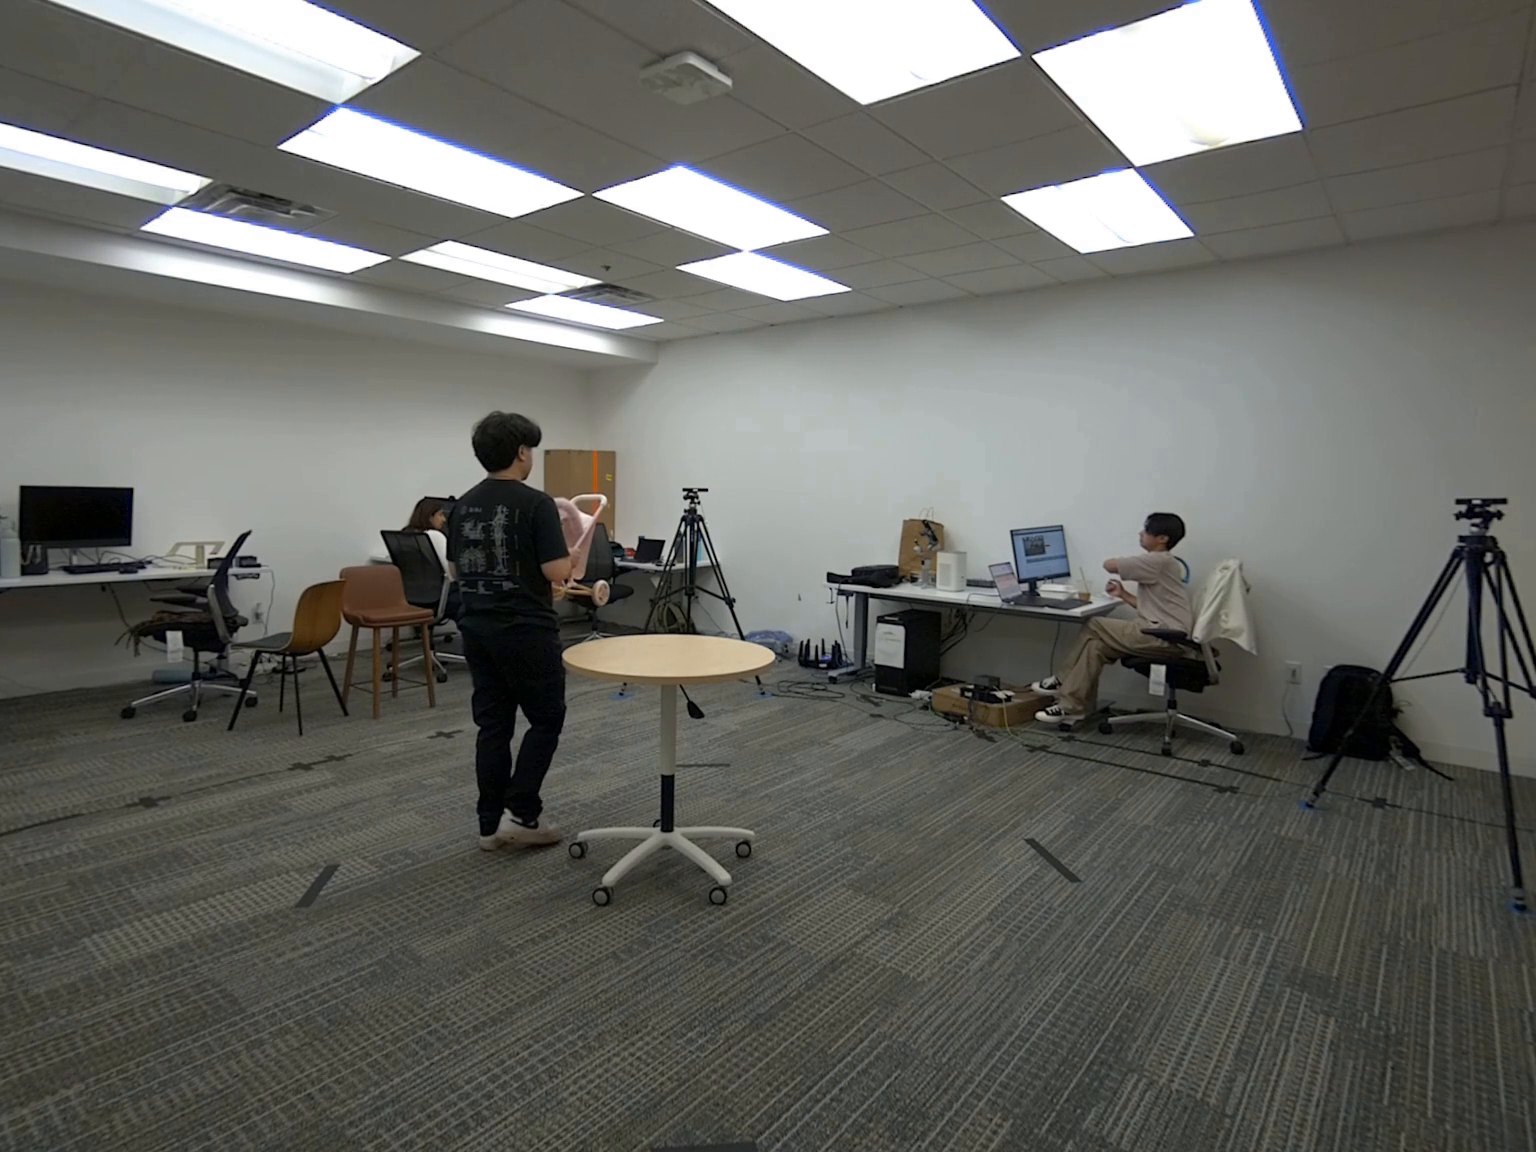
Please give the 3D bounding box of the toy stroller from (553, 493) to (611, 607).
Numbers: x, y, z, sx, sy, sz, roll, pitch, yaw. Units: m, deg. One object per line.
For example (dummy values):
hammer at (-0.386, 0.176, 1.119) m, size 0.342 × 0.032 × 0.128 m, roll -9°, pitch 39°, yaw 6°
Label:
toy stroller at (-0.882, -0.091, 3.595) m, size 0.290 × 0.535 × 0.331 m, roll 4°, pitch 0°, yaw 32°
